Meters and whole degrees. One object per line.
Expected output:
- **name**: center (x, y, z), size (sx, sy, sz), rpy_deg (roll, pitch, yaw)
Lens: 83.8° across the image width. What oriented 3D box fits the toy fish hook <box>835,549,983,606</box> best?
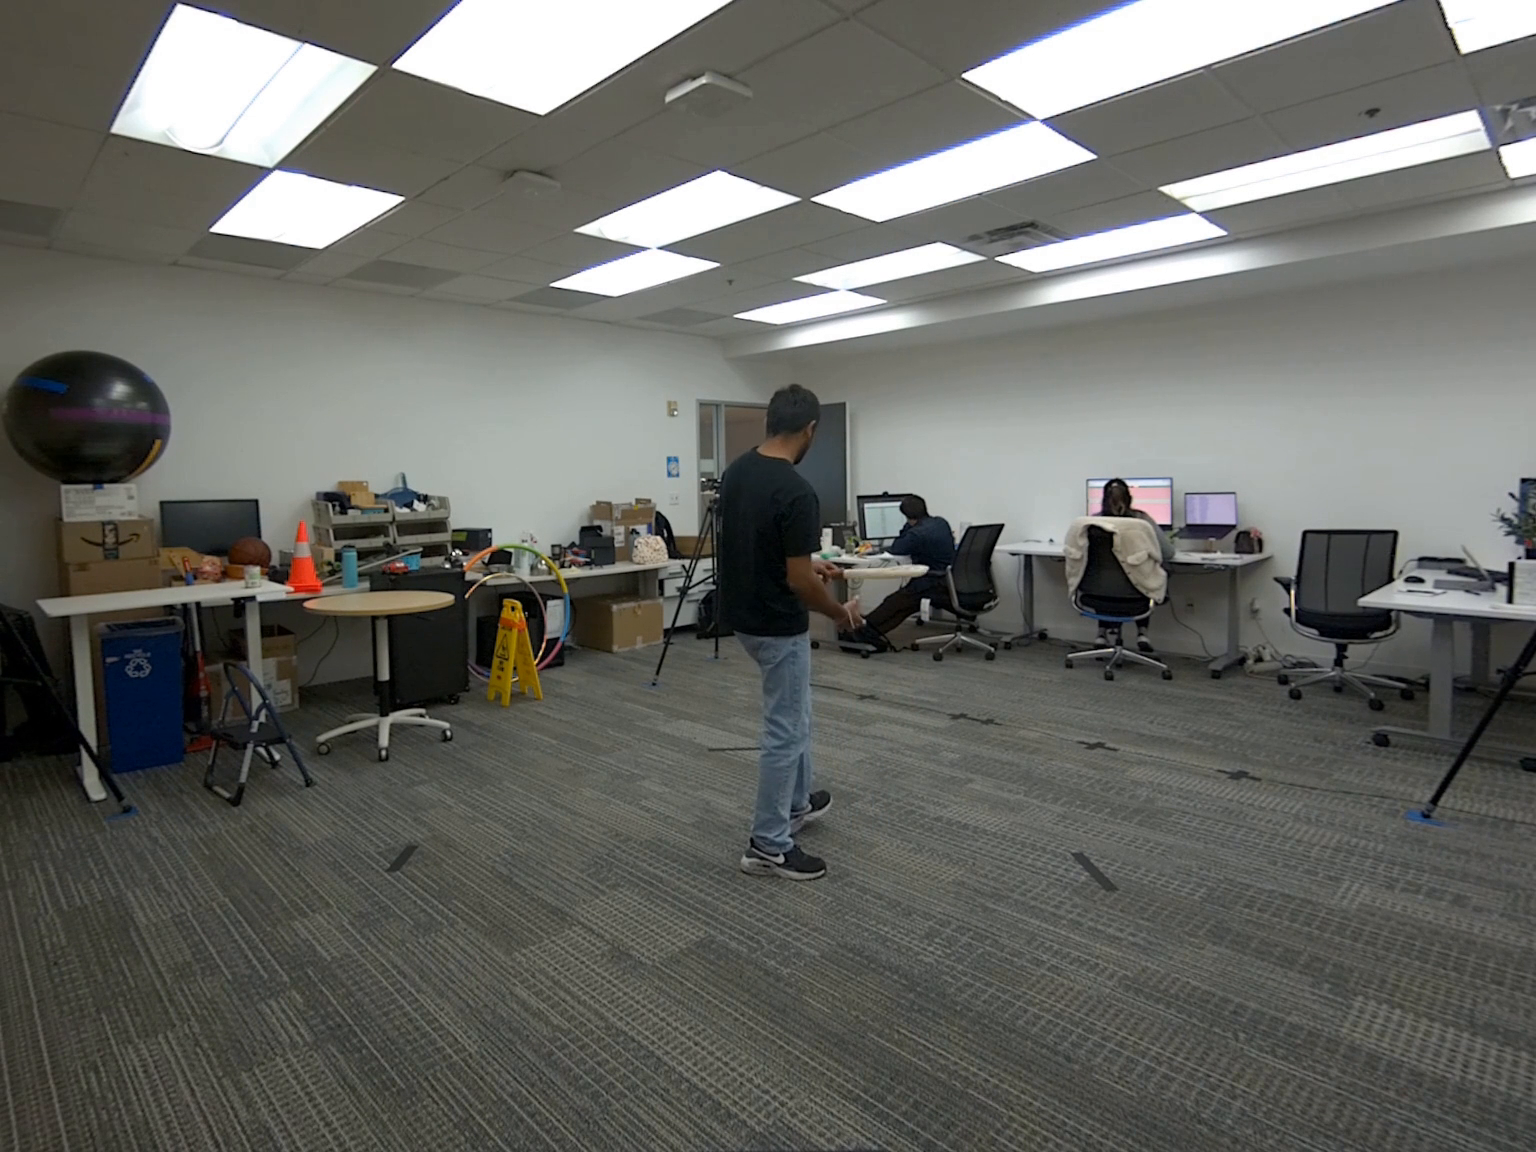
- **toy fish hook**: center (0.523, -0.002, 3.186), size (0.499, 0.048, 0.230), rpy_deg (-18, 13, -24)
